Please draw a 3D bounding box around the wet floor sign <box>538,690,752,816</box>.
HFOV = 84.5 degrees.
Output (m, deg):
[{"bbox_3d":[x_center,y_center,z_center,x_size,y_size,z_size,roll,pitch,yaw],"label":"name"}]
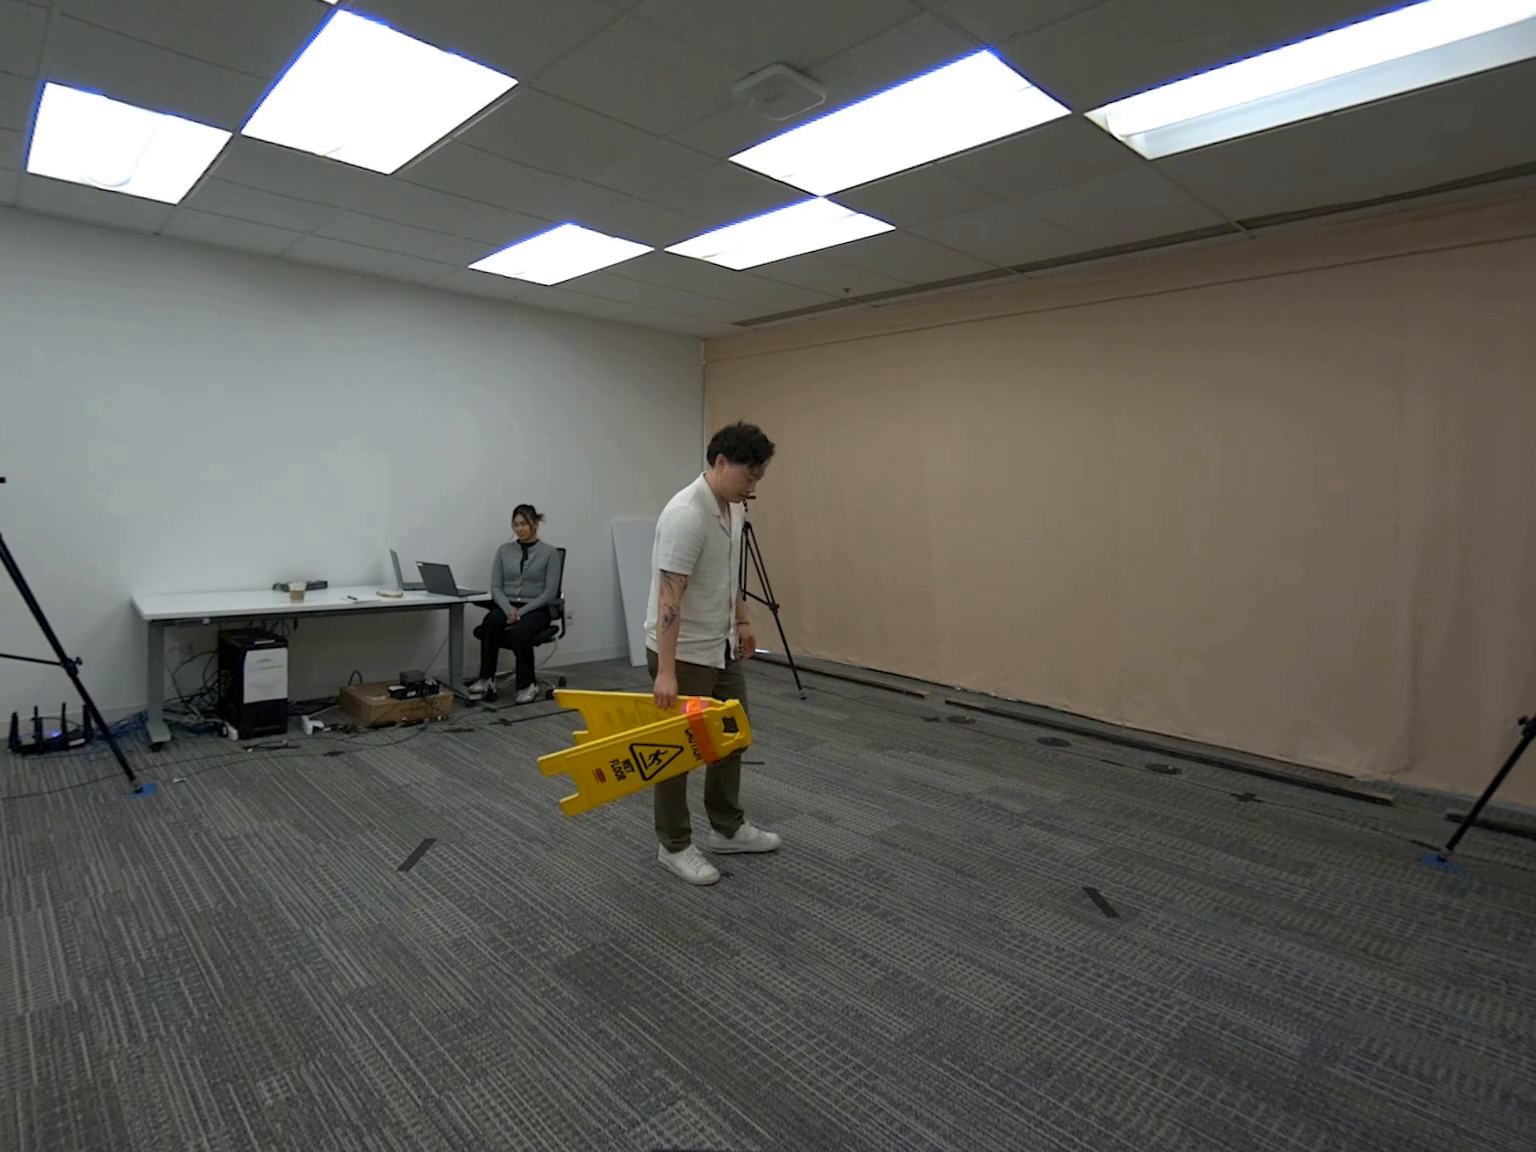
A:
[{"bbox_3d":[-0.385,0.533,2.760,0.649,0.275,0.295,-10,35,8],"label":"wet floor sign"}]
